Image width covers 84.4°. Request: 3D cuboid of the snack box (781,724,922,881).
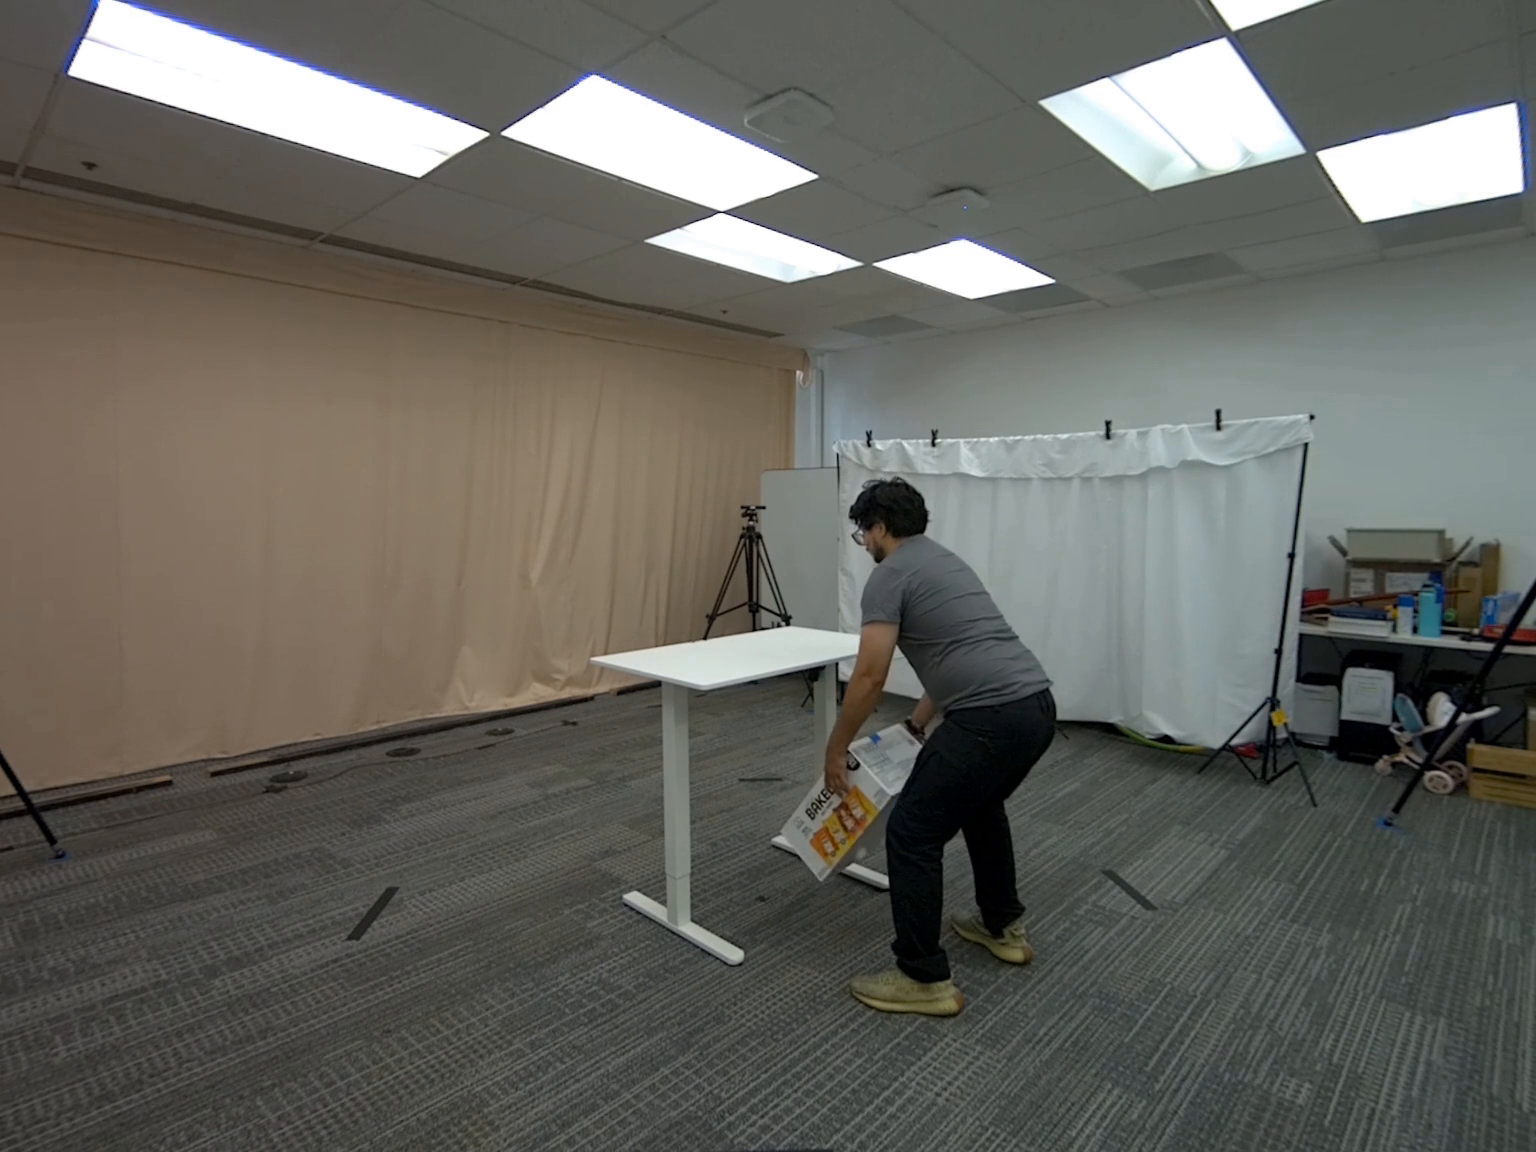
[{"bbox_3d":[0.306,0.720,2.701,0.212,0.405,0.330,45,28,27],"label":"snack box"}]
